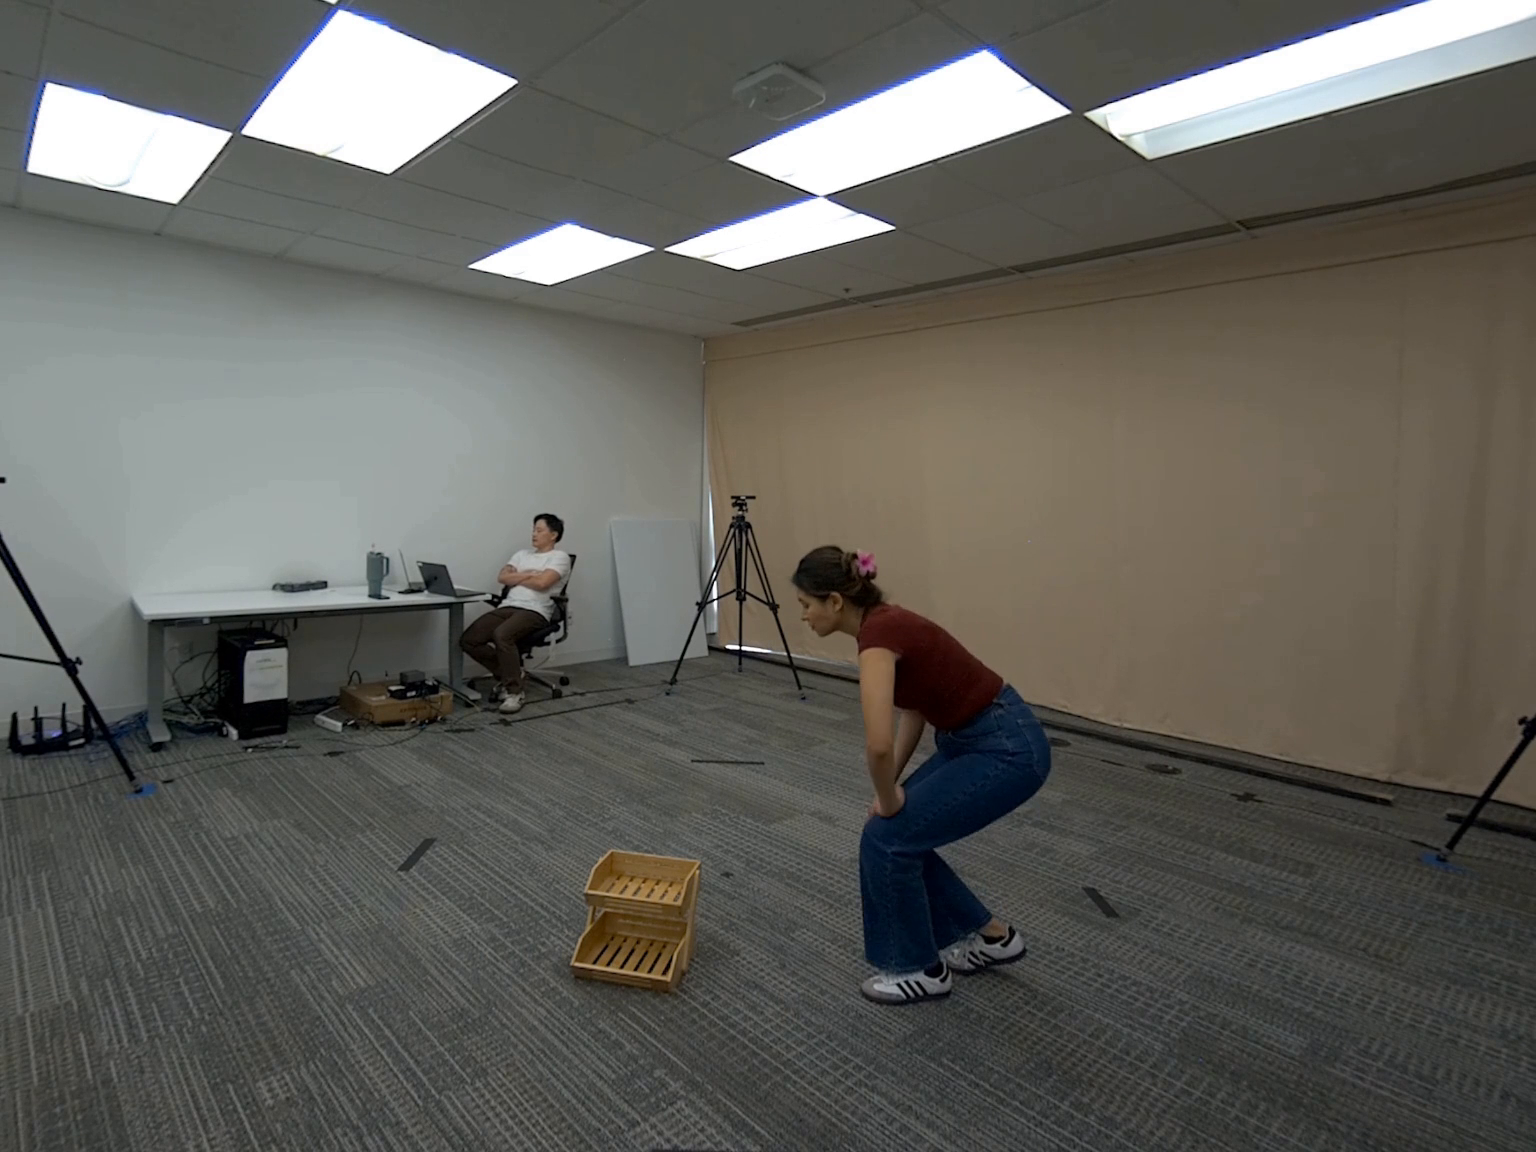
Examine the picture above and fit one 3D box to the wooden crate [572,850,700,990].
[{"bbox_3d":[-0.390,1.021,2.498,0.328,0.272,0.300,2,5,12],"label":"wooden crate"}]
